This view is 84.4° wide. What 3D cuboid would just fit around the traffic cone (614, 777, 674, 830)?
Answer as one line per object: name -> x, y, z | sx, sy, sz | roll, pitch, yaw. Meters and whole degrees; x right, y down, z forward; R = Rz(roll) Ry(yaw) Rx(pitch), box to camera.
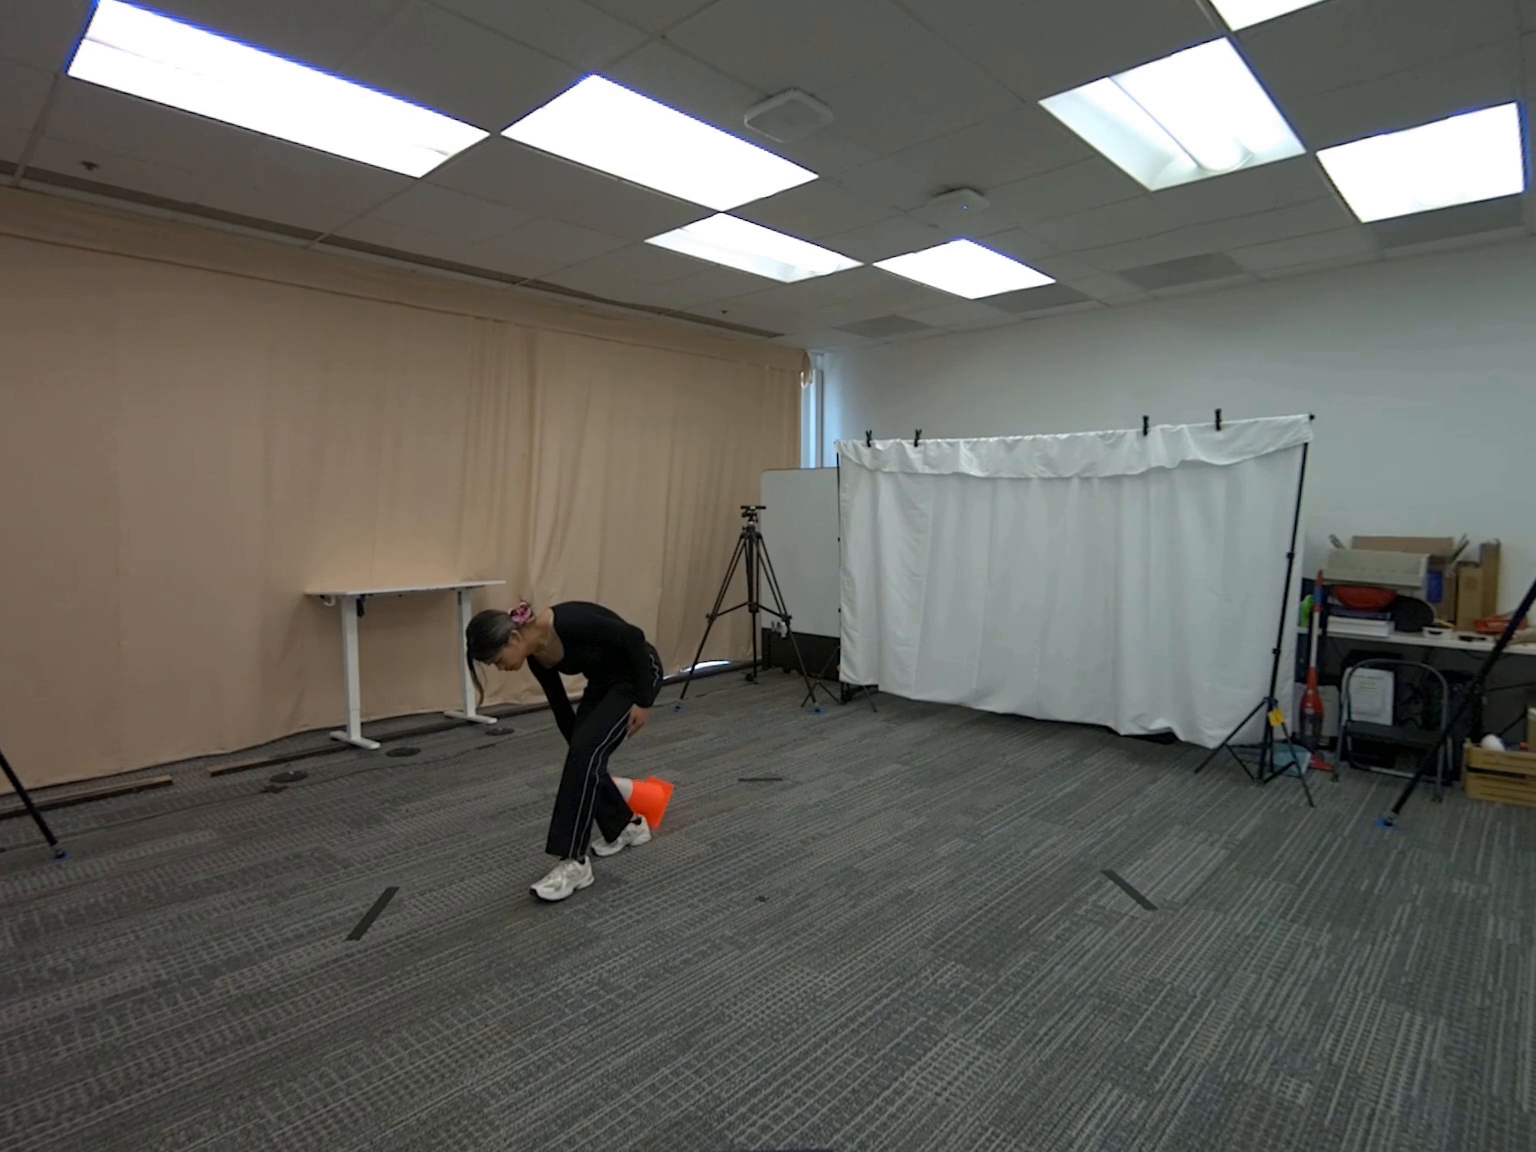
traffic cone -> -0.633, 0.918, 3.621 | 0.370, 0.204, 0.212 | 33, -19, -36
